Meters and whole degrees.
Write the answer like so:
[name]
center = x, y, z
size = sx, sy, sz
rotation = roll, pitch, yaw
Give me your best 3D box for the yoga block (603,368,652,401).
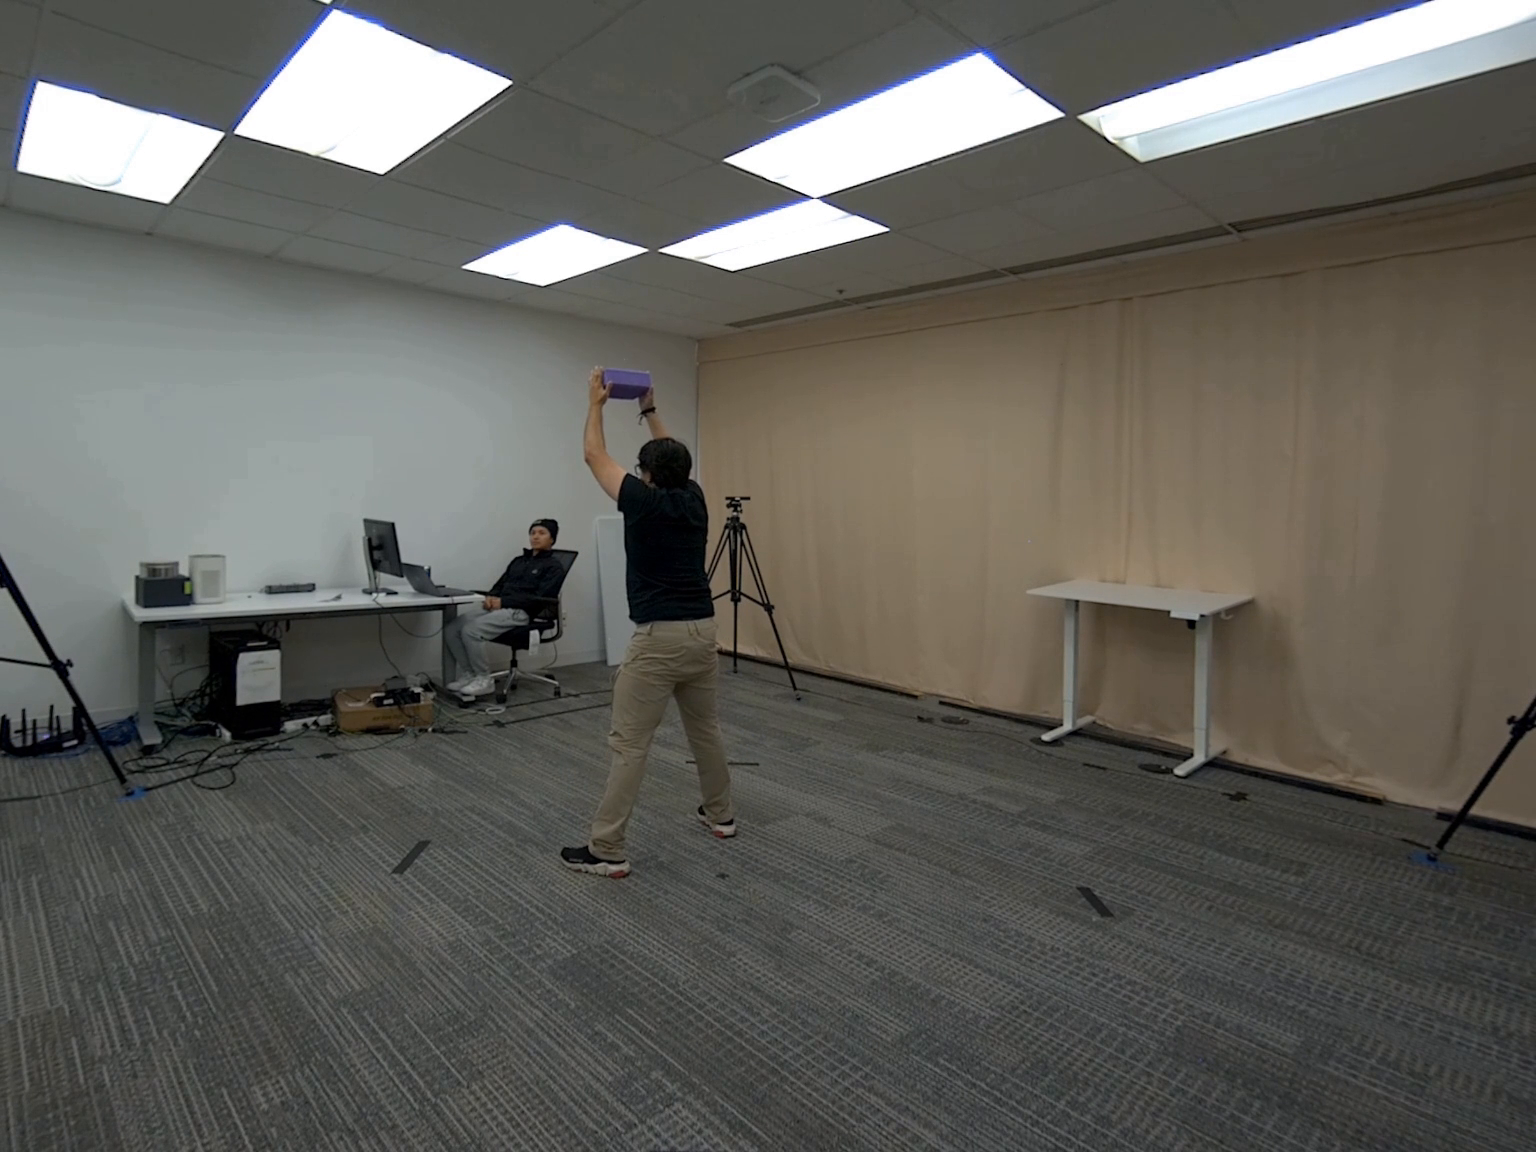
[yoga block]
center = -0.638, -0.805, 3.547
size = 0.224, 0.077, 0.151
rotation = -7, -9, -44
